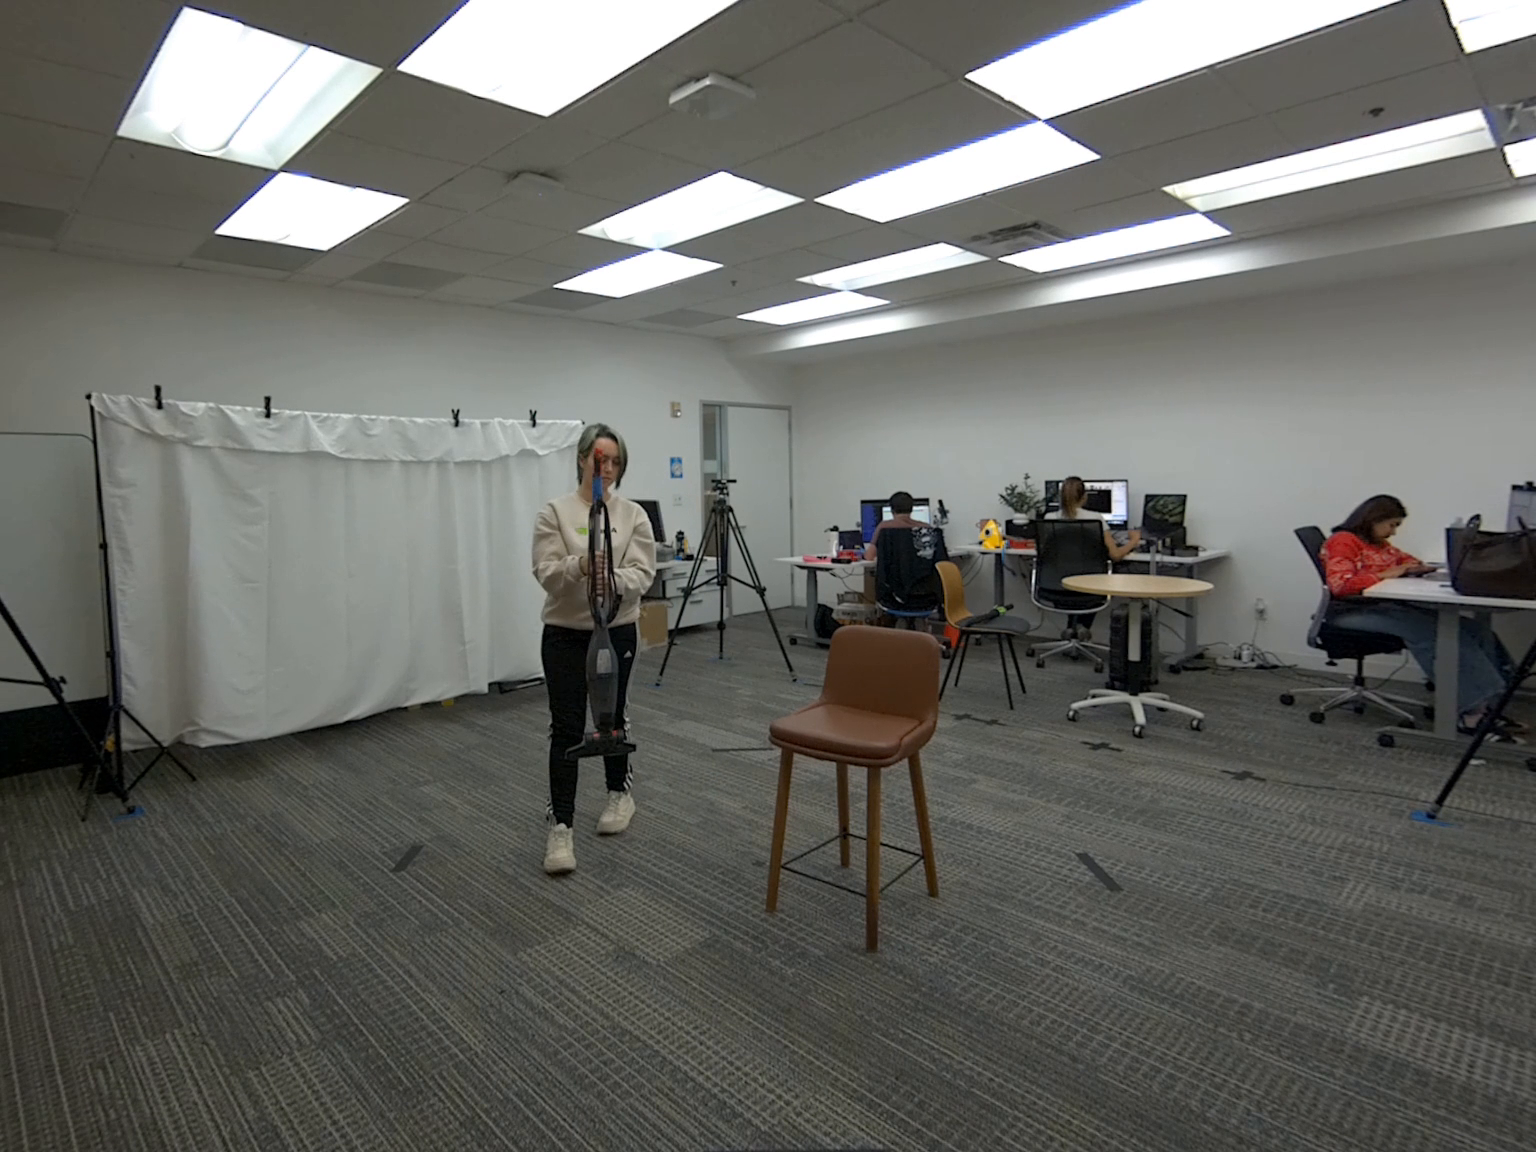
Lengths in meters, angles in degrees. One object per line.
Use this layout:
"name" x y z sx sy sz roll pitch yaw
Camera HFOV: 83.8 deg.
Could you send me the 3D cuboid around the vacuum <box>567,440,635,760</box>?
"vacuum" -0.593 0.078 2.996 0.250 1.045 0.146 -1 5 -11
